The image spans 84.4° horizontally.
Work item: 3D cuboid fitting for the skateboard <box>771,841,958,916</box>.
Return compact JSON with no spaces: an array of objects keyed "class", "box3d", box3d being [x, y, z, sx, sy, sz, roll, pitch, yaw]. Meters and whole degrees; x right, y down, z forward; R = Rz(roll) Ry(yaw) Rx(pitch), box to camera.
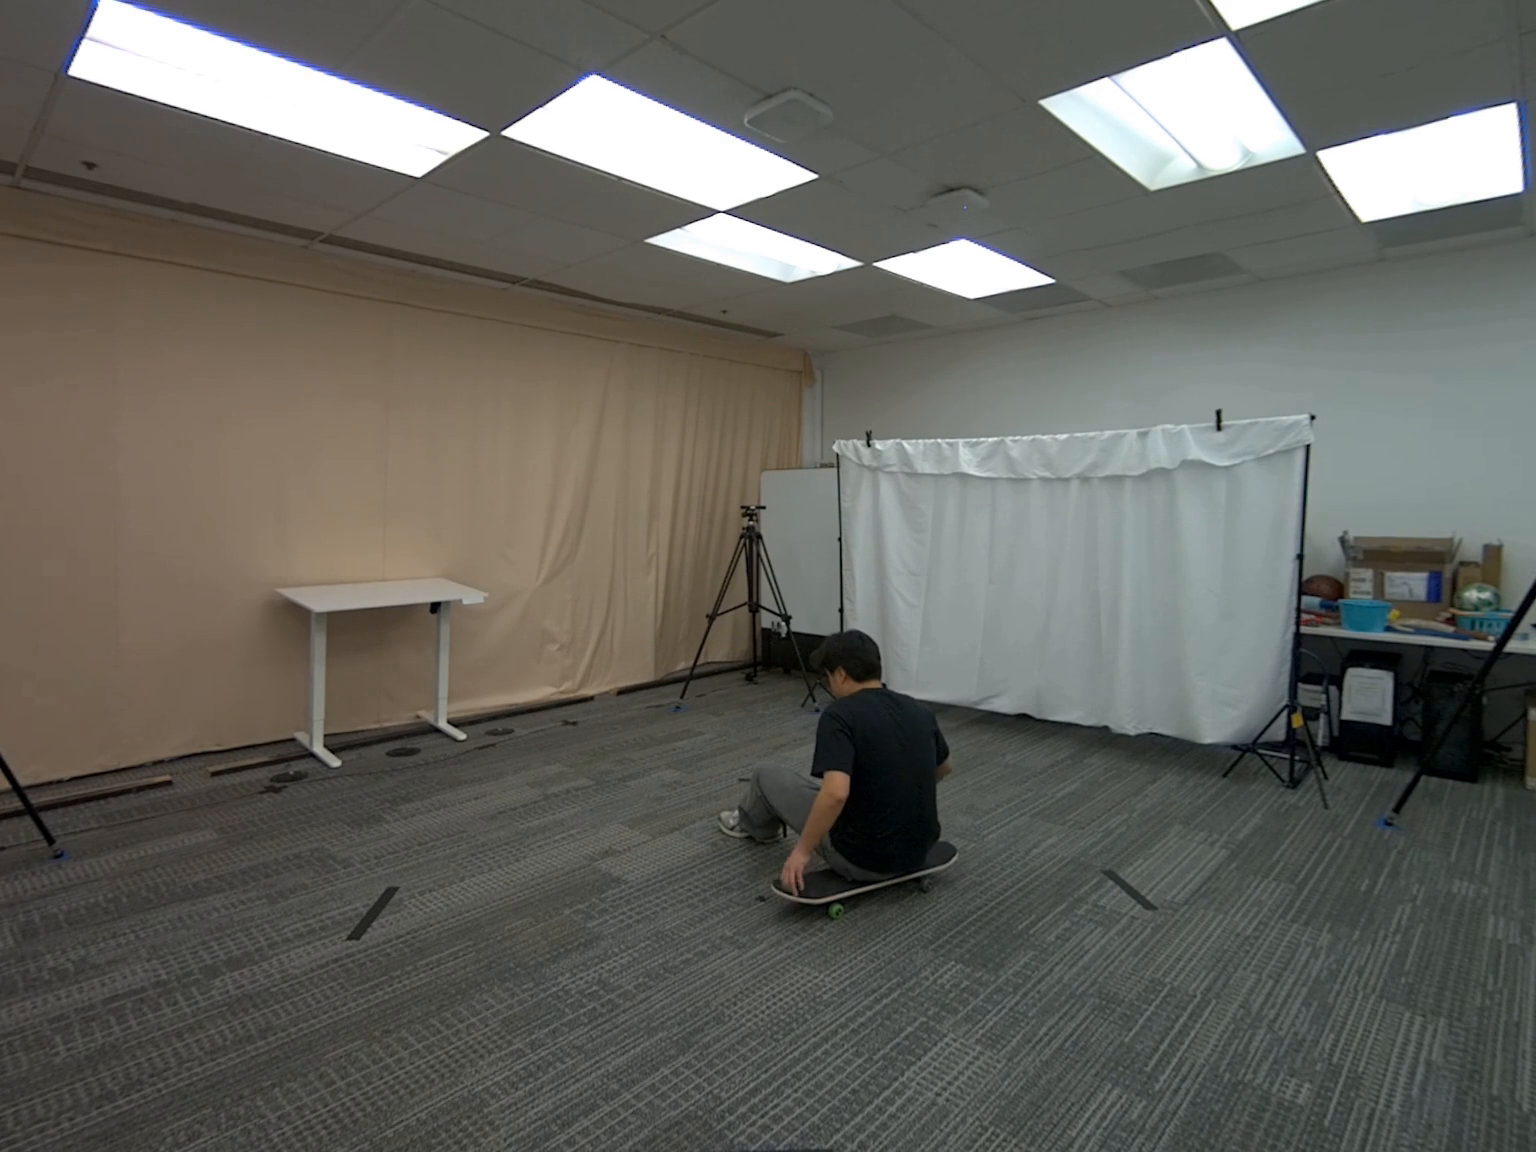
[{"class":"skateboard","box3d":[0.360,1.086,3.002,0.765,0.110,0.199,-3,5,-28]}]
